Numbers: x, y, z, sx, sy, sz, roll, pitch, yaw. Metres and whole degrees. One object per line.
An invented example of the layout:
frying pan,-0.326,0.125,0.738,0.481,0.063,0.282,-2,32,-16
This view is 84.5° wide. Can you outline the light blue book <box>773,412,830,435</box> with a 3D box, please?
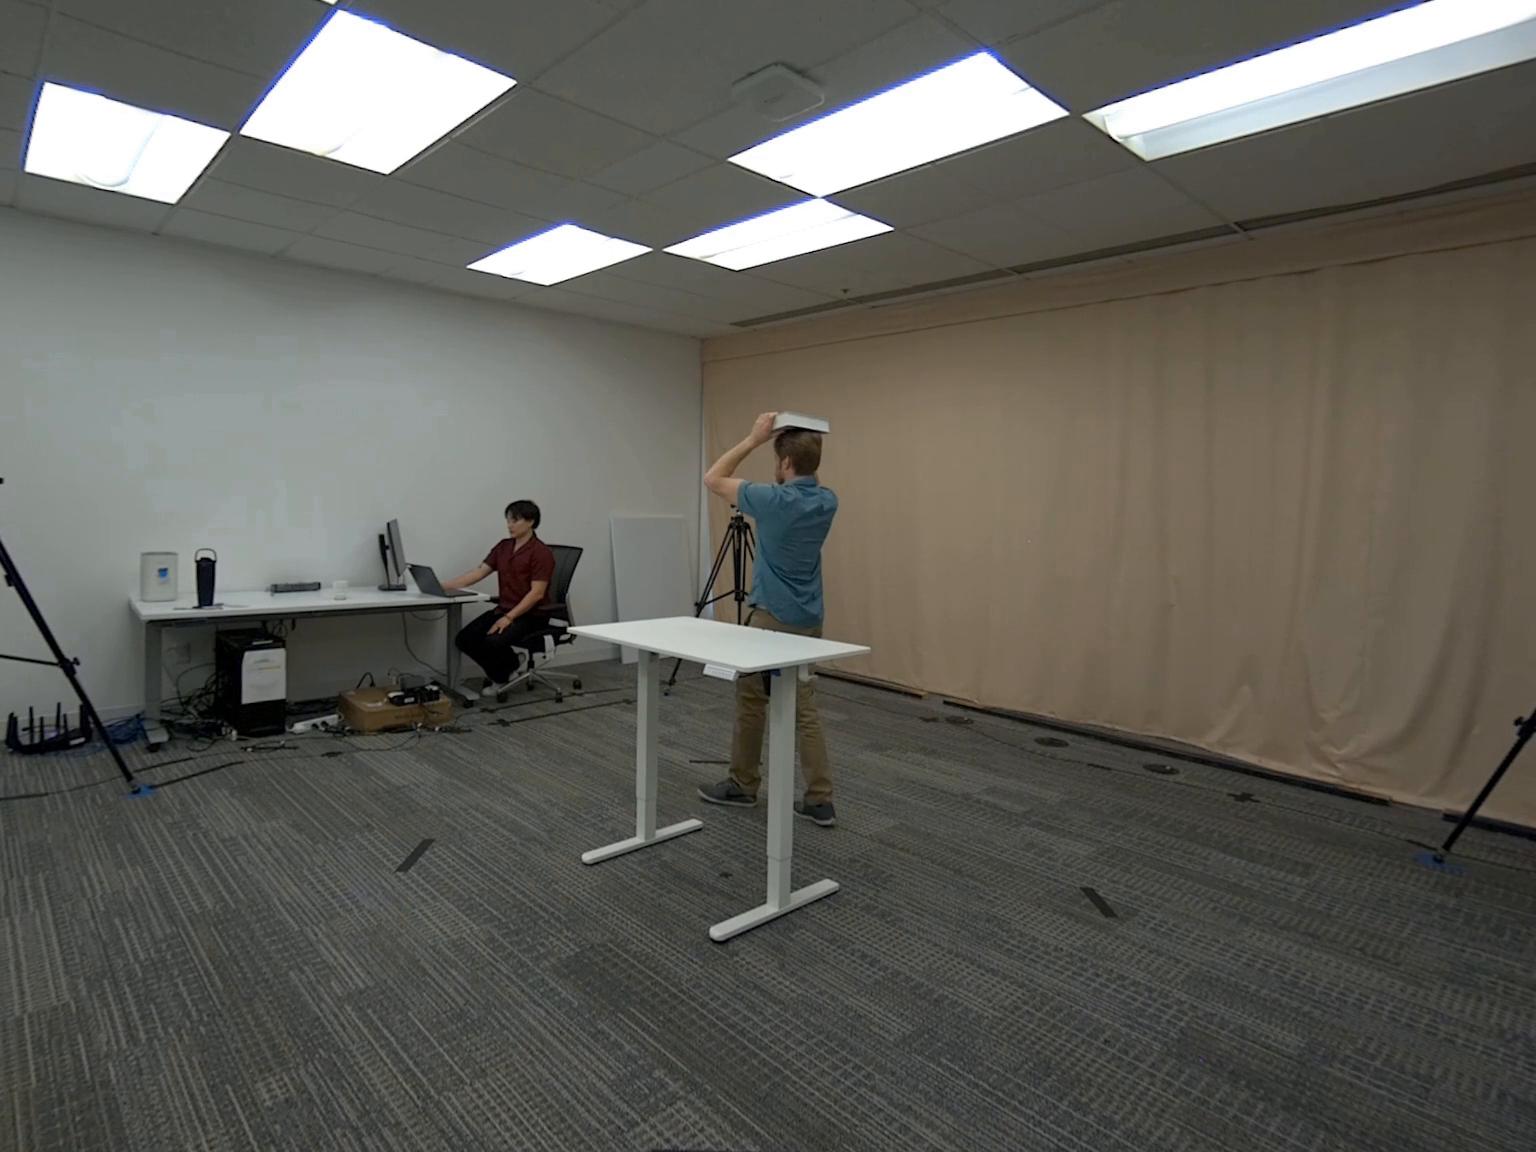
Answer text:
light blue book,0.103,-0.647,3.641,0.254,0.059,0.195,2,-4,-42
